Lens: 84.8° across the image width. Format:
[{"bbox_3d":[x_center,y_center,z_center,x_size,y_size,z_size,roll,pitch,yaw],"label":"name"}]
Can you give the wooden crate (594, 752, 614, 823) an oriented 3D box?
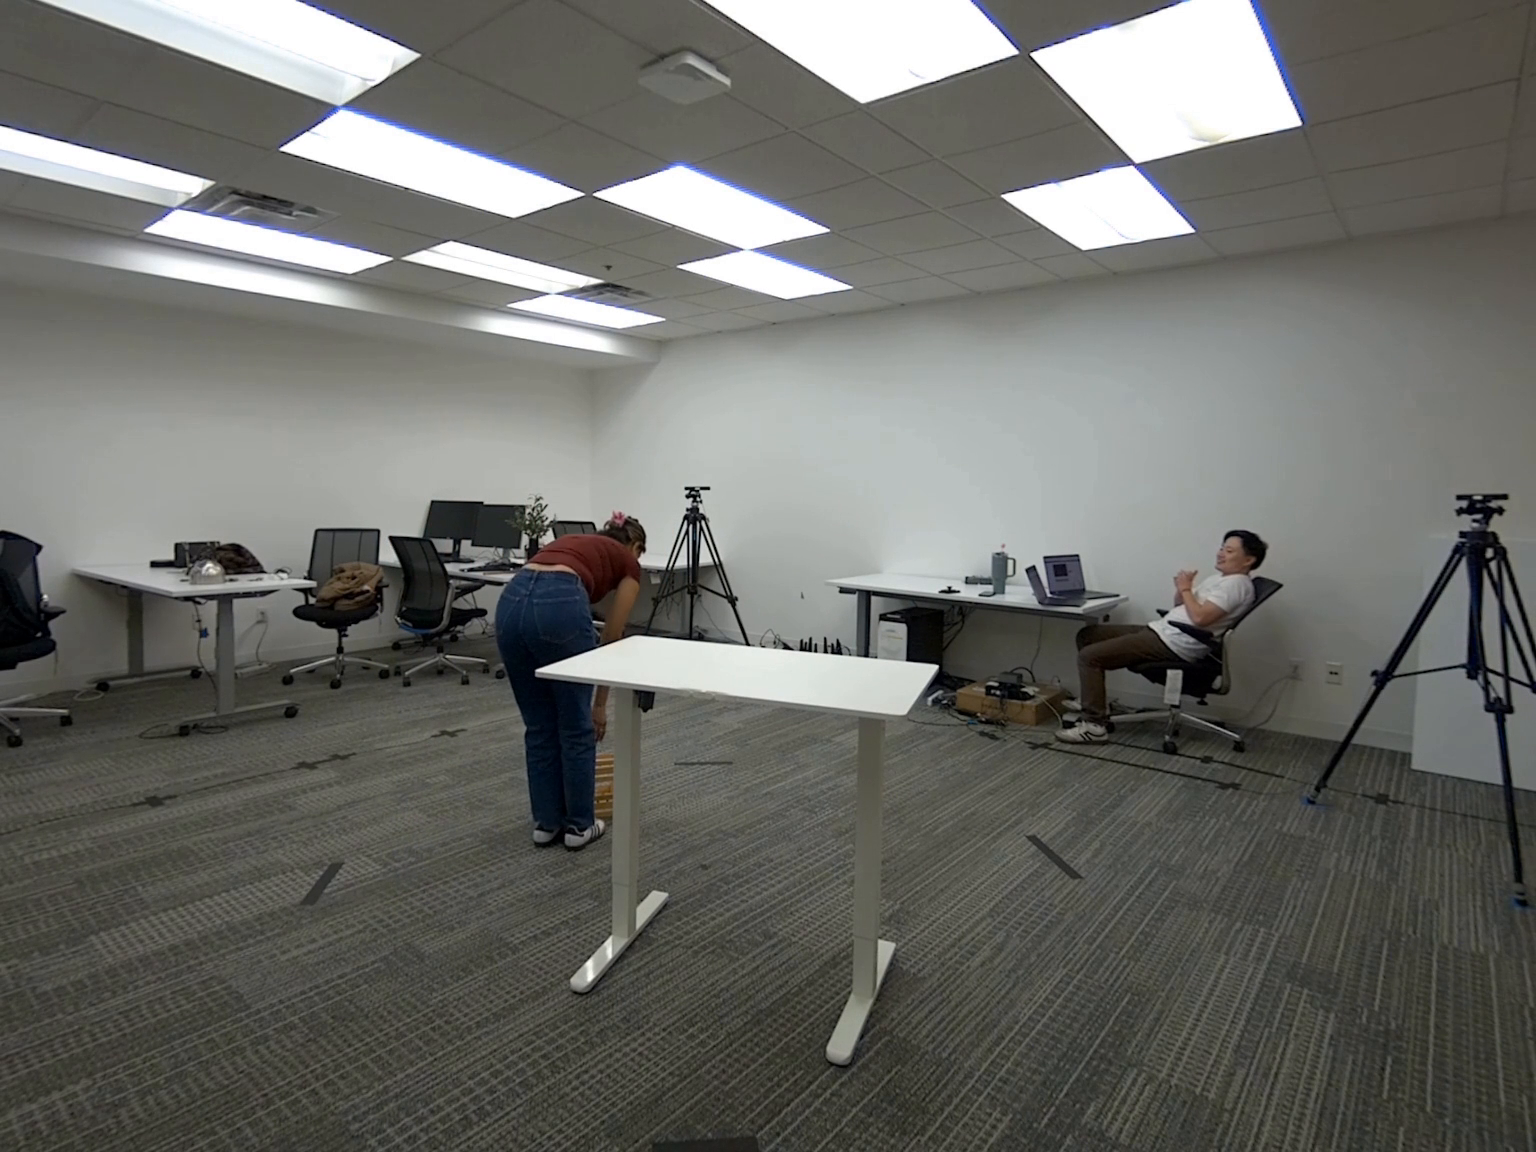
[{"bbox_3d":[-0.795,0.866,3.641,0.317,0.272,0.310,-1,5,-22],"label":"wooden crate"}]
